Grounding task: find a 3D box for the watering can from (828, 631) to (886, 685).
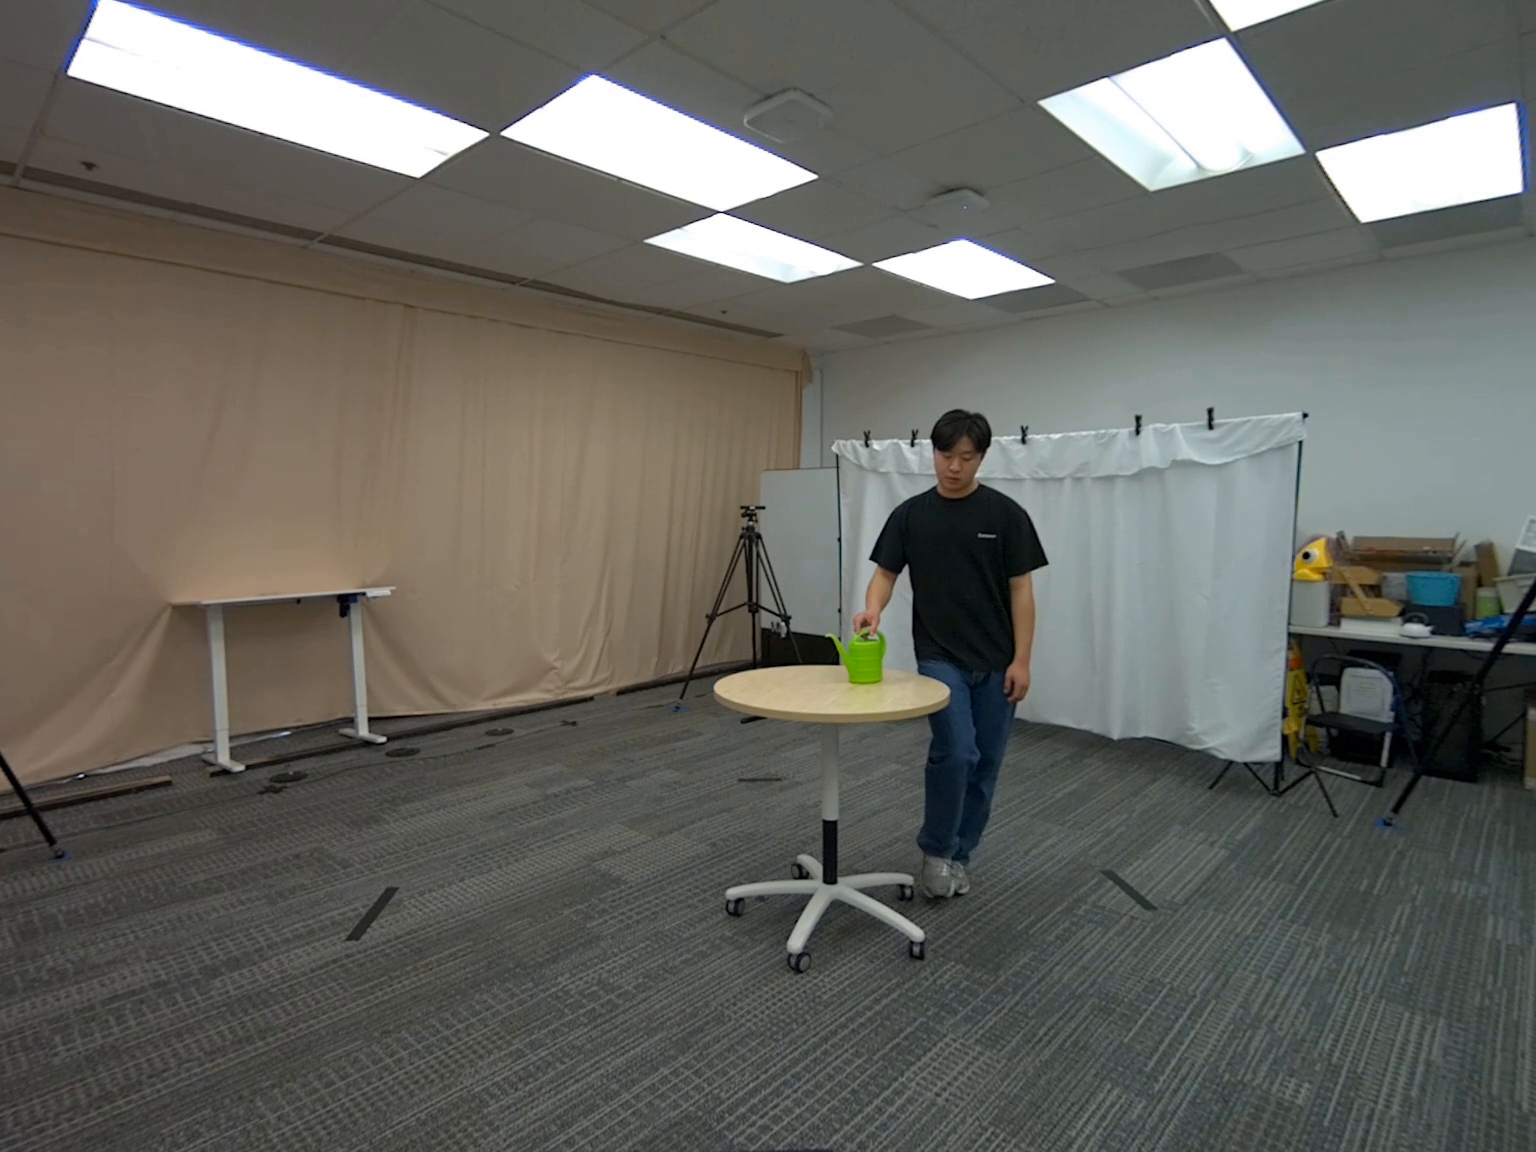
[{"bbox_3d":[0.294,0.272,2.833,0.271,0.177,0.100,2,0,-25],"label":"watering can"}]
